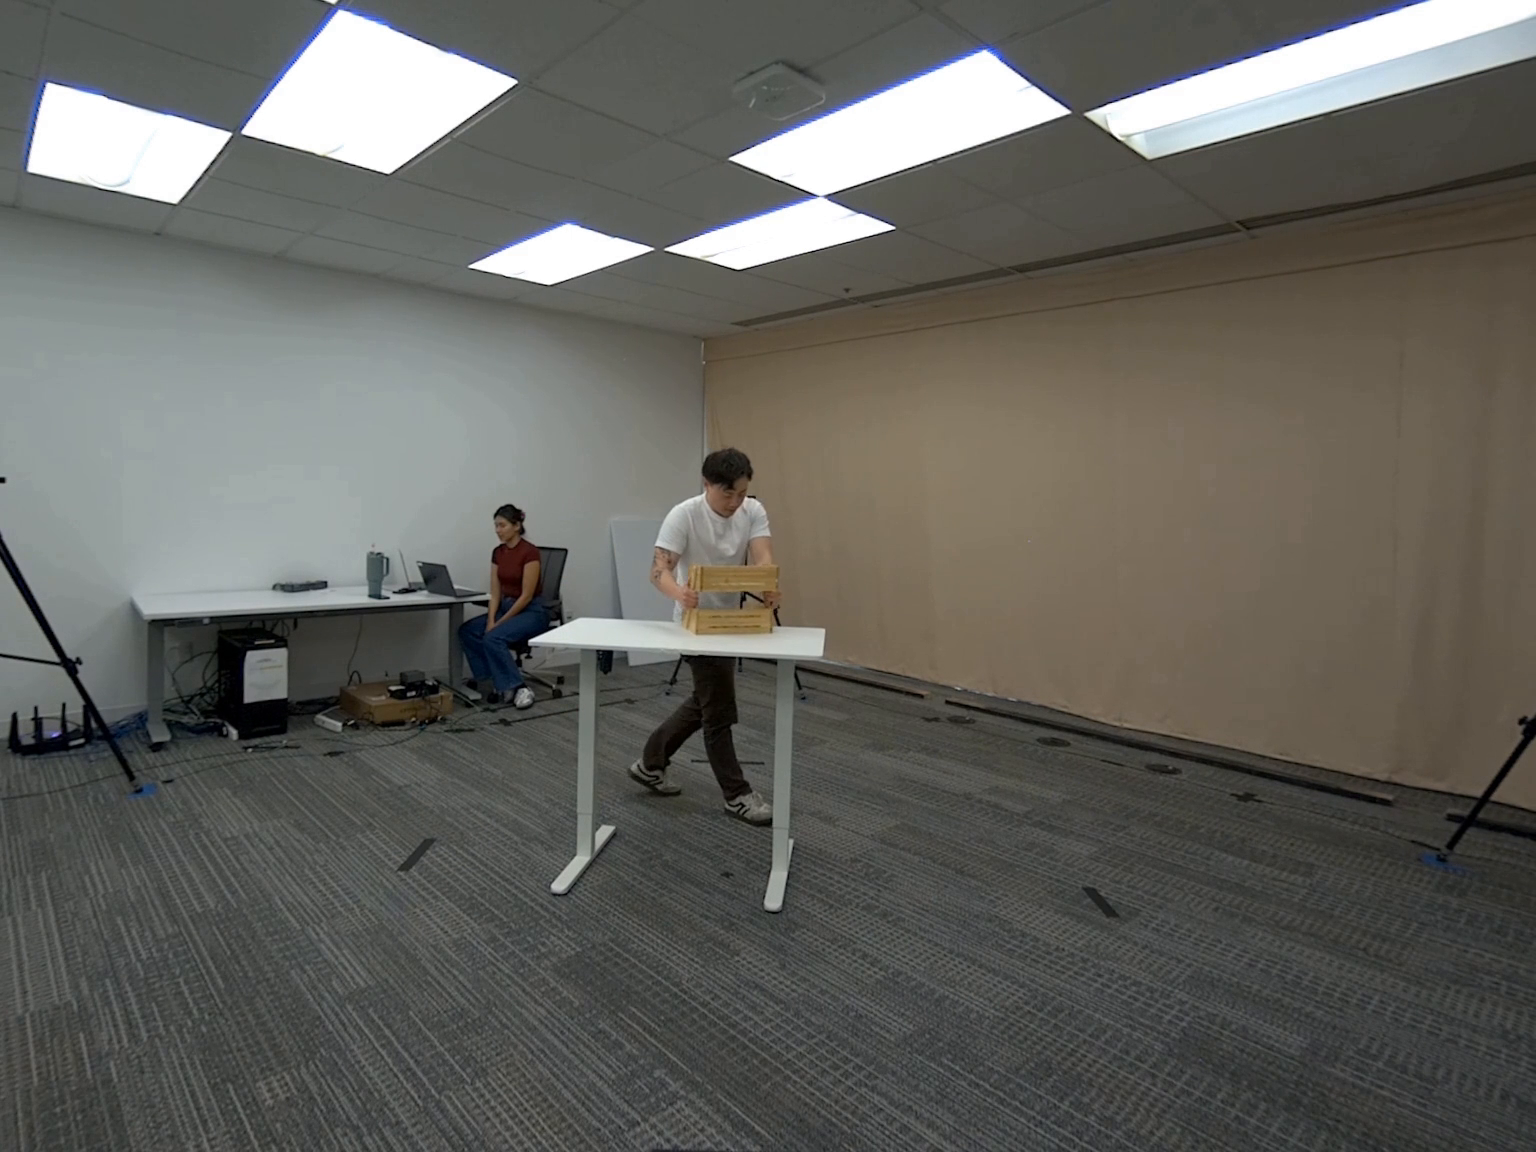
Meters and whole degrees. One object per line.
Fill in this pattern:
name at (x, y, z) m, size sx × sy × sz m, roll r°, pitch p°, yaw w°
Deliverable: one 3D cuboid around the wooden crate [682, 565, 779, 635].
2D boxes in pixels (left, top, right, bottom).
wooden crate at (-0.161, 0.075, 3.239) m, size 0.320 × 0.272 × 0.307 m, roll 0°, pitch 6°, yaw -16°
